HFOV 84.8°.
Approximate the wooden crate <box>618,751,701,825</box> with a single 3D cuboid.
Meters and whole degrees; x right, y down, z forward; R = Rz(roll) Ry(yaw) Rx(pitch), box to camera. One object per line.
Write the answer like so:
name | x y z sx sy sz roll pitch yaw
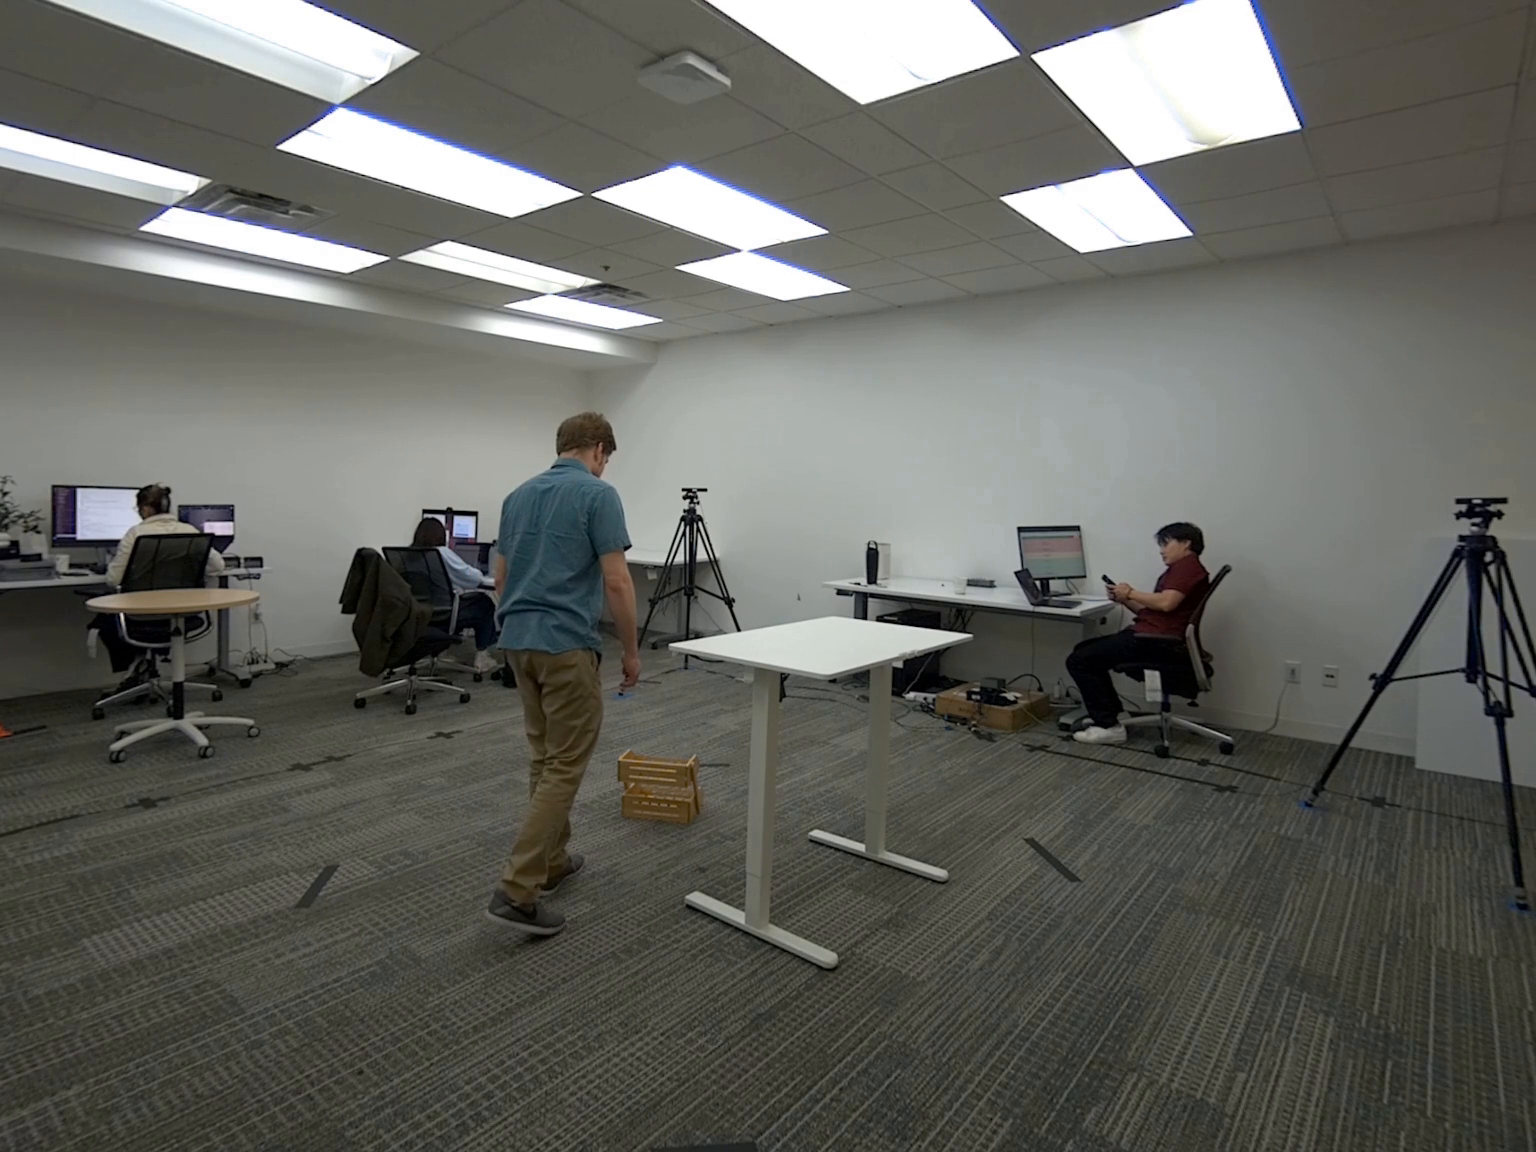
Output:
wooden crate | -0.471 0.879 3.662 0.328 0.272 0.299 2 5 11
